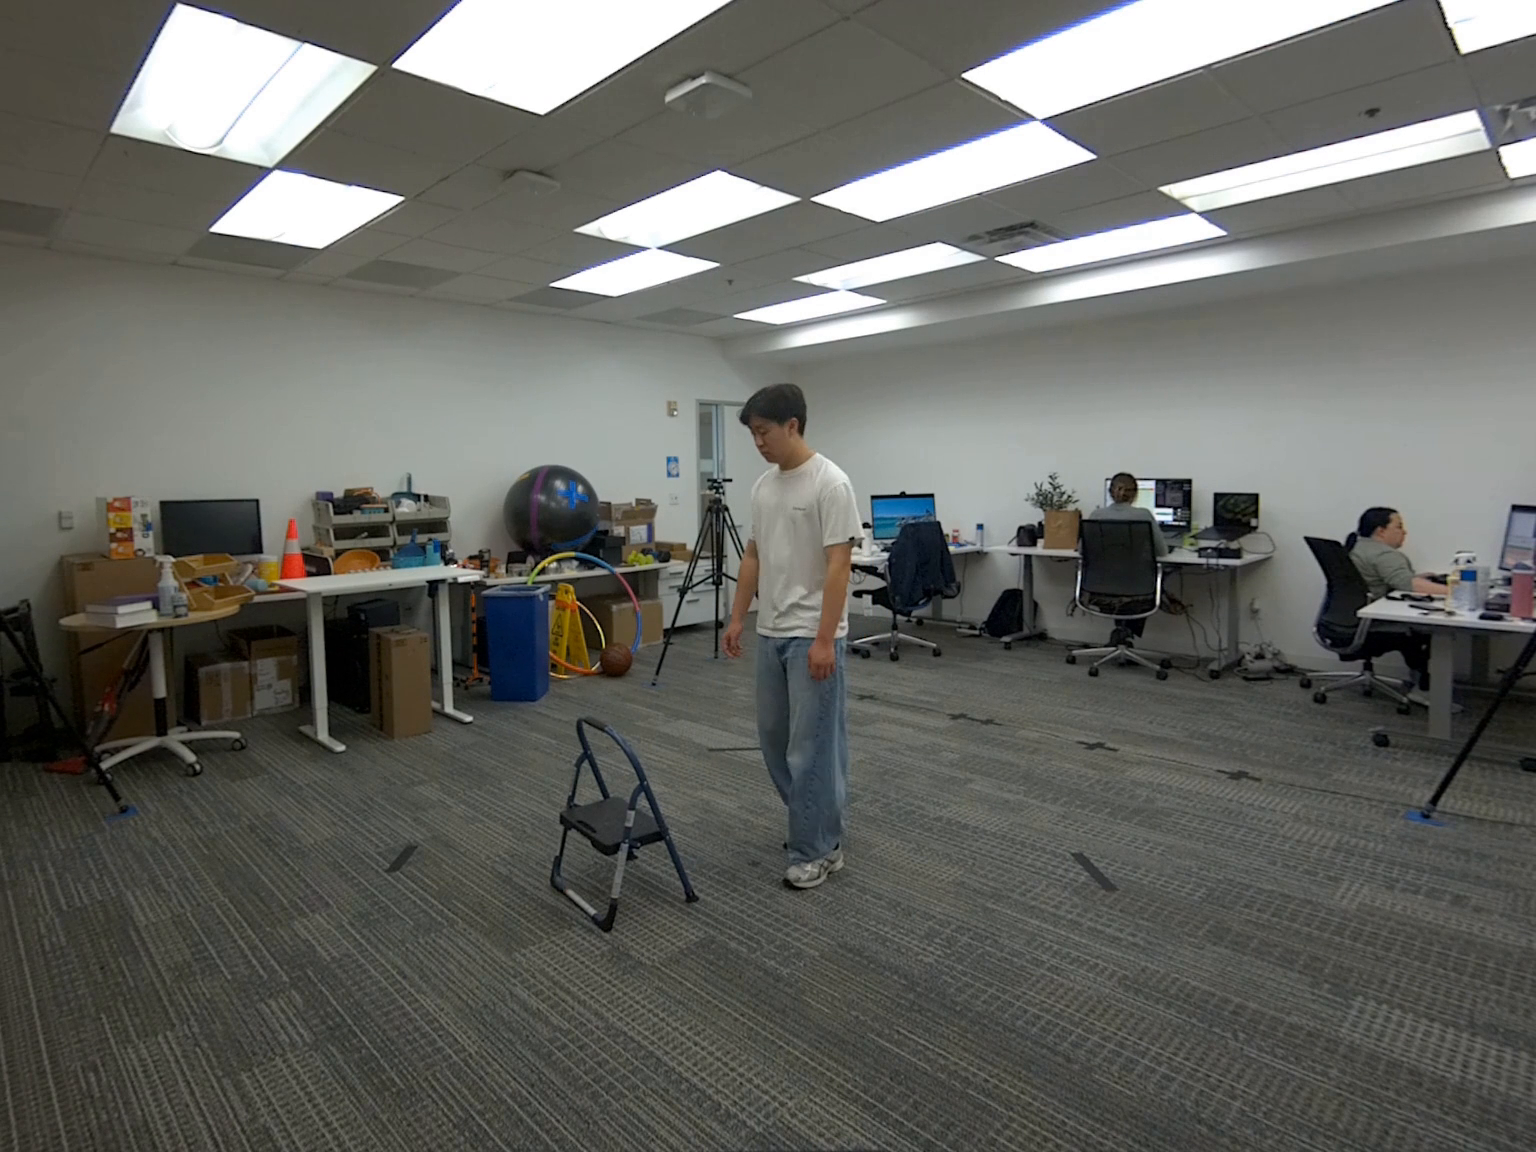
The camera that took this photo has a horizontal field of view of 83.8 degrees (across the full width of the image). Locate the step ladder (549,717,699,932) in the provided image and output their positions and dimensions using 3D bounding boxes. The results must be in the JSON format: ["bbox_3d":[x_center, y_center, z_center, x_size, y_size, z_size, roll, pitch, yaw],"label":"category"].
[{"bbox_3d":[-0.500,0.775,2.890,0.340,0.604,0.444,-4,6,-38],"label":"step ladder"}]
